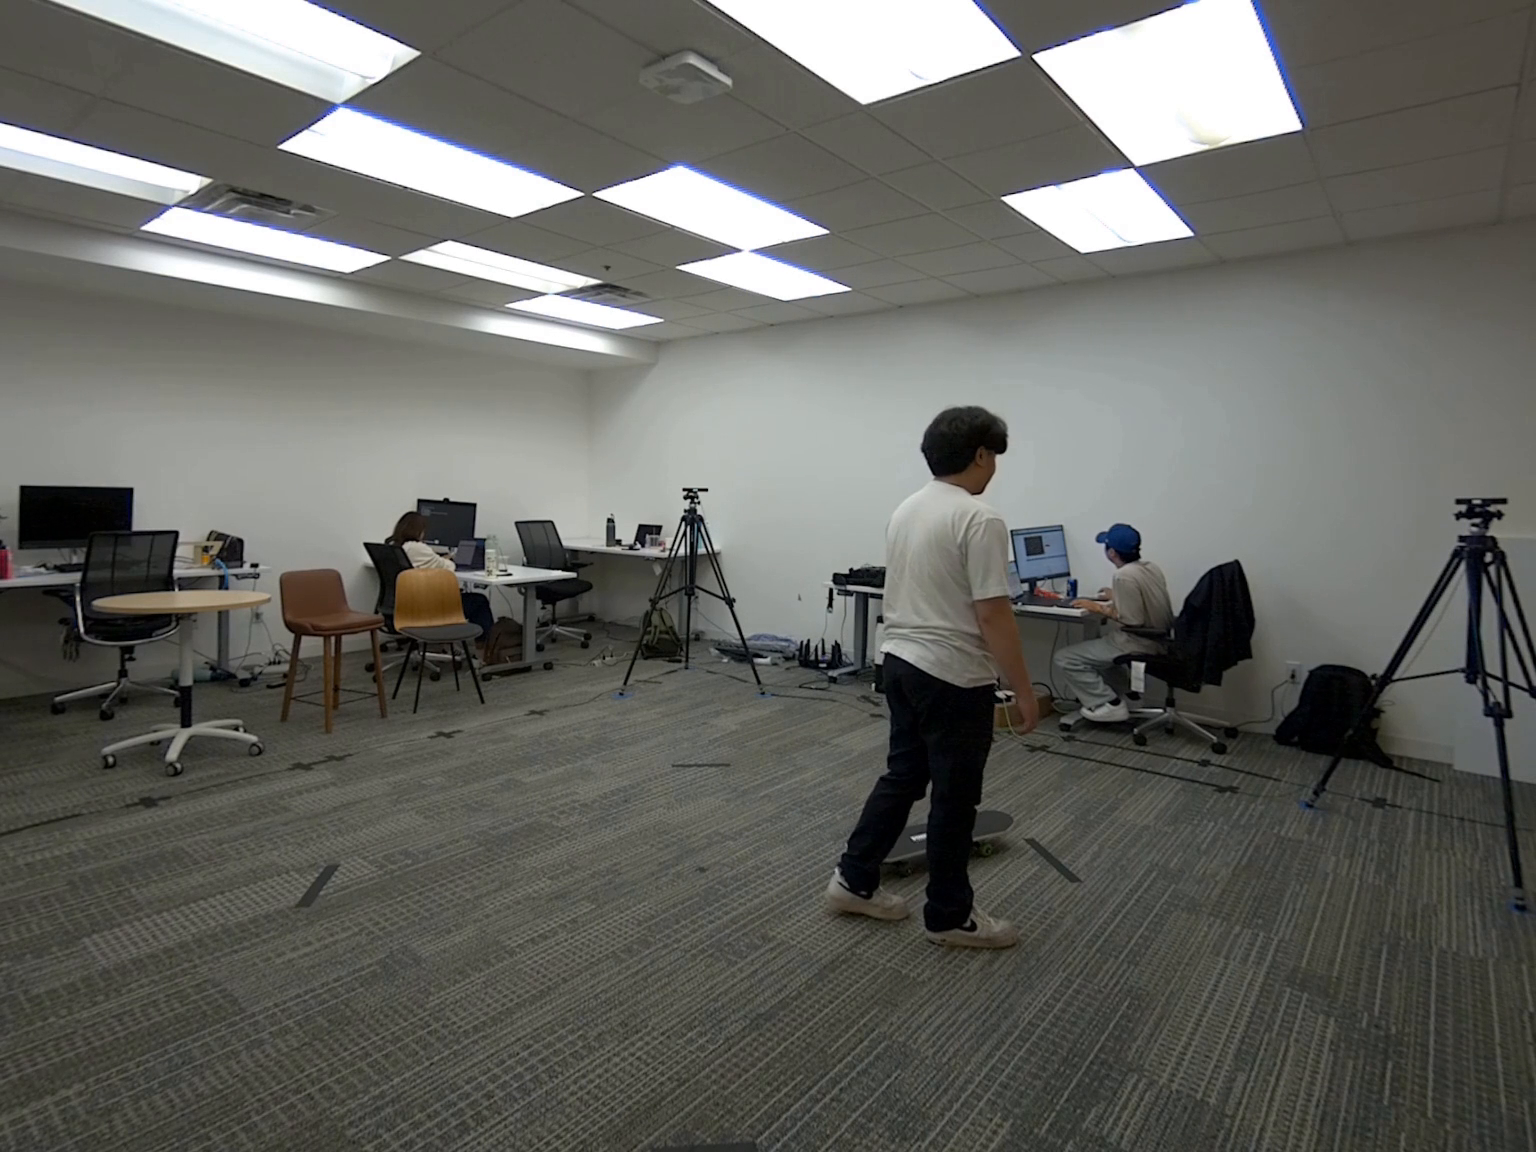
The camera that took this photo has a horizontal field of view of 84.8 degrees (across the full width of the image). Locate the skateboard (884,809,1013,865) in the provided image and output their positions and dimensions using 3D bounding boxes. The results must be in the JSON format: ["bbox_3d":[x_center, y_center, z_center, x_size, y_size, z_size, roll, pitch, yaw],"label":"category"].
[{"bbox_3d":[0.617,1.014,3.253,0.765,0.110,0.199,-2,6,-29],"label":"skateboard"}]
